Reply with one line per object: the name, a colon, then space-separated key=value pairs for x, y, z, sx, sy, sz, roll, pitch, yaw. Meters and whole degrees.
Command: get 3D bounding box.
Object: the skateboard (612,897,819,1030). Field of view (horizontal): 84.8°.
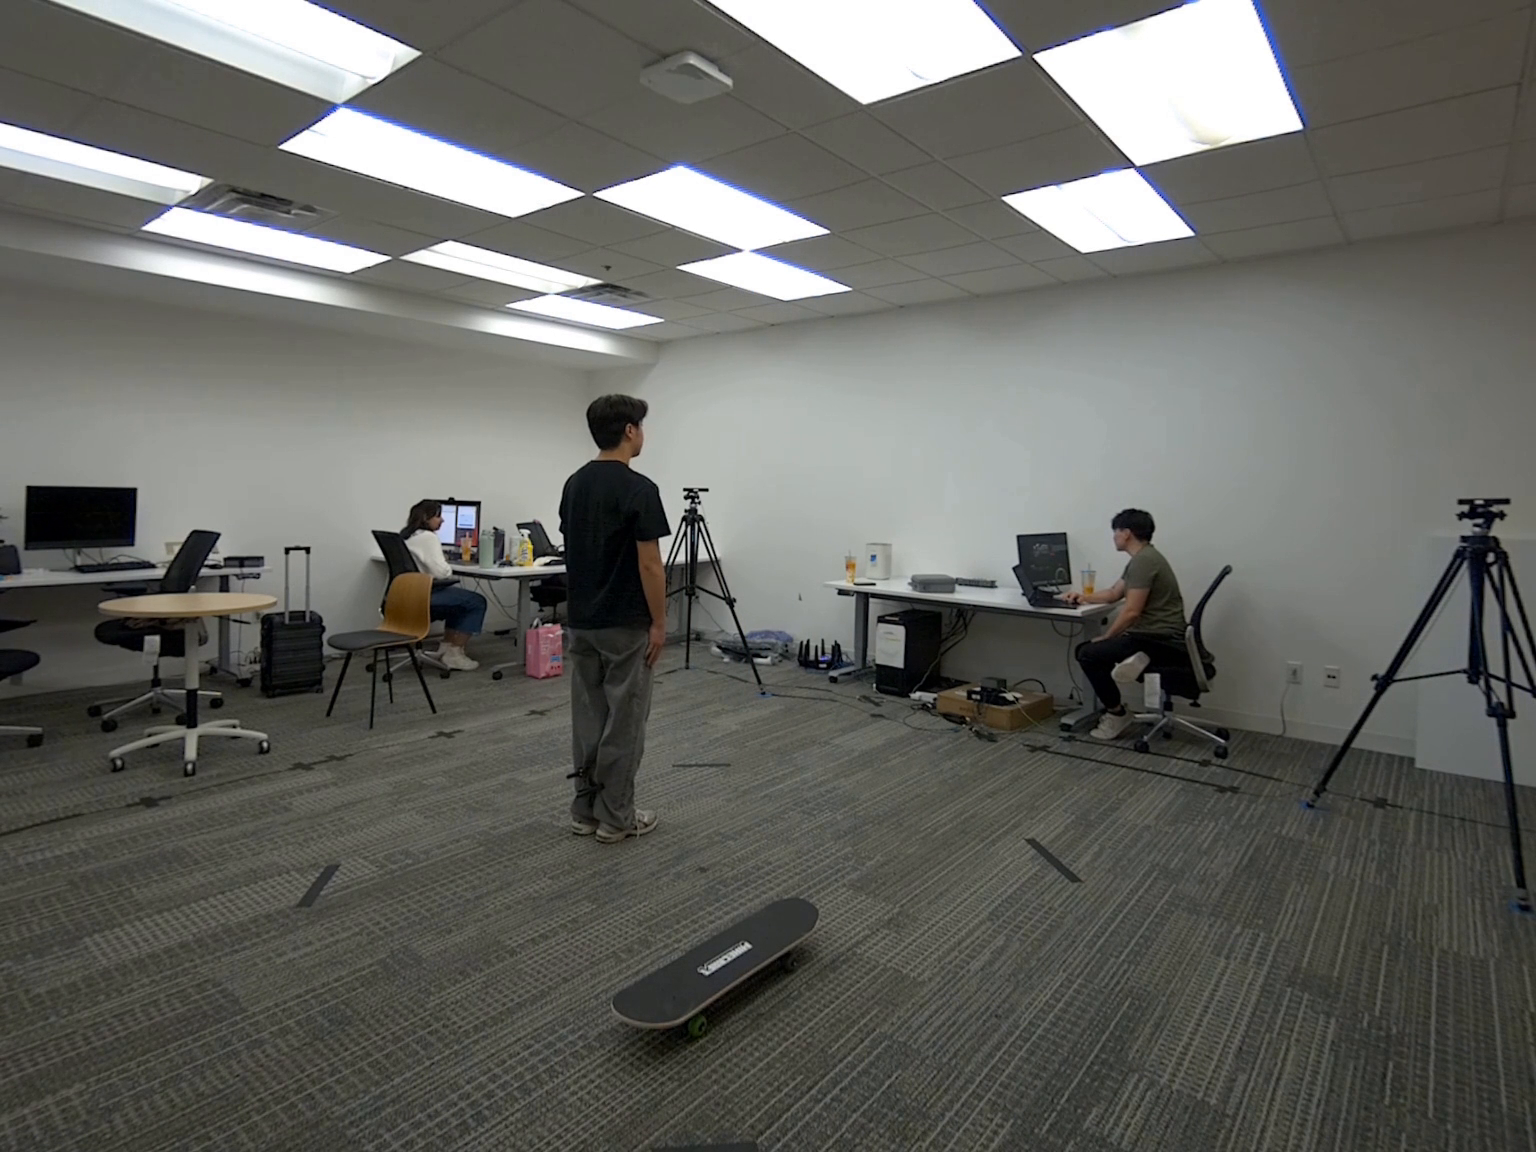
skateboard: x=-0.125 y=1.091 z=2.361 sx=0.200 sy=0.110 sz=0.763 roll=6 pitch=8 yaw=39
